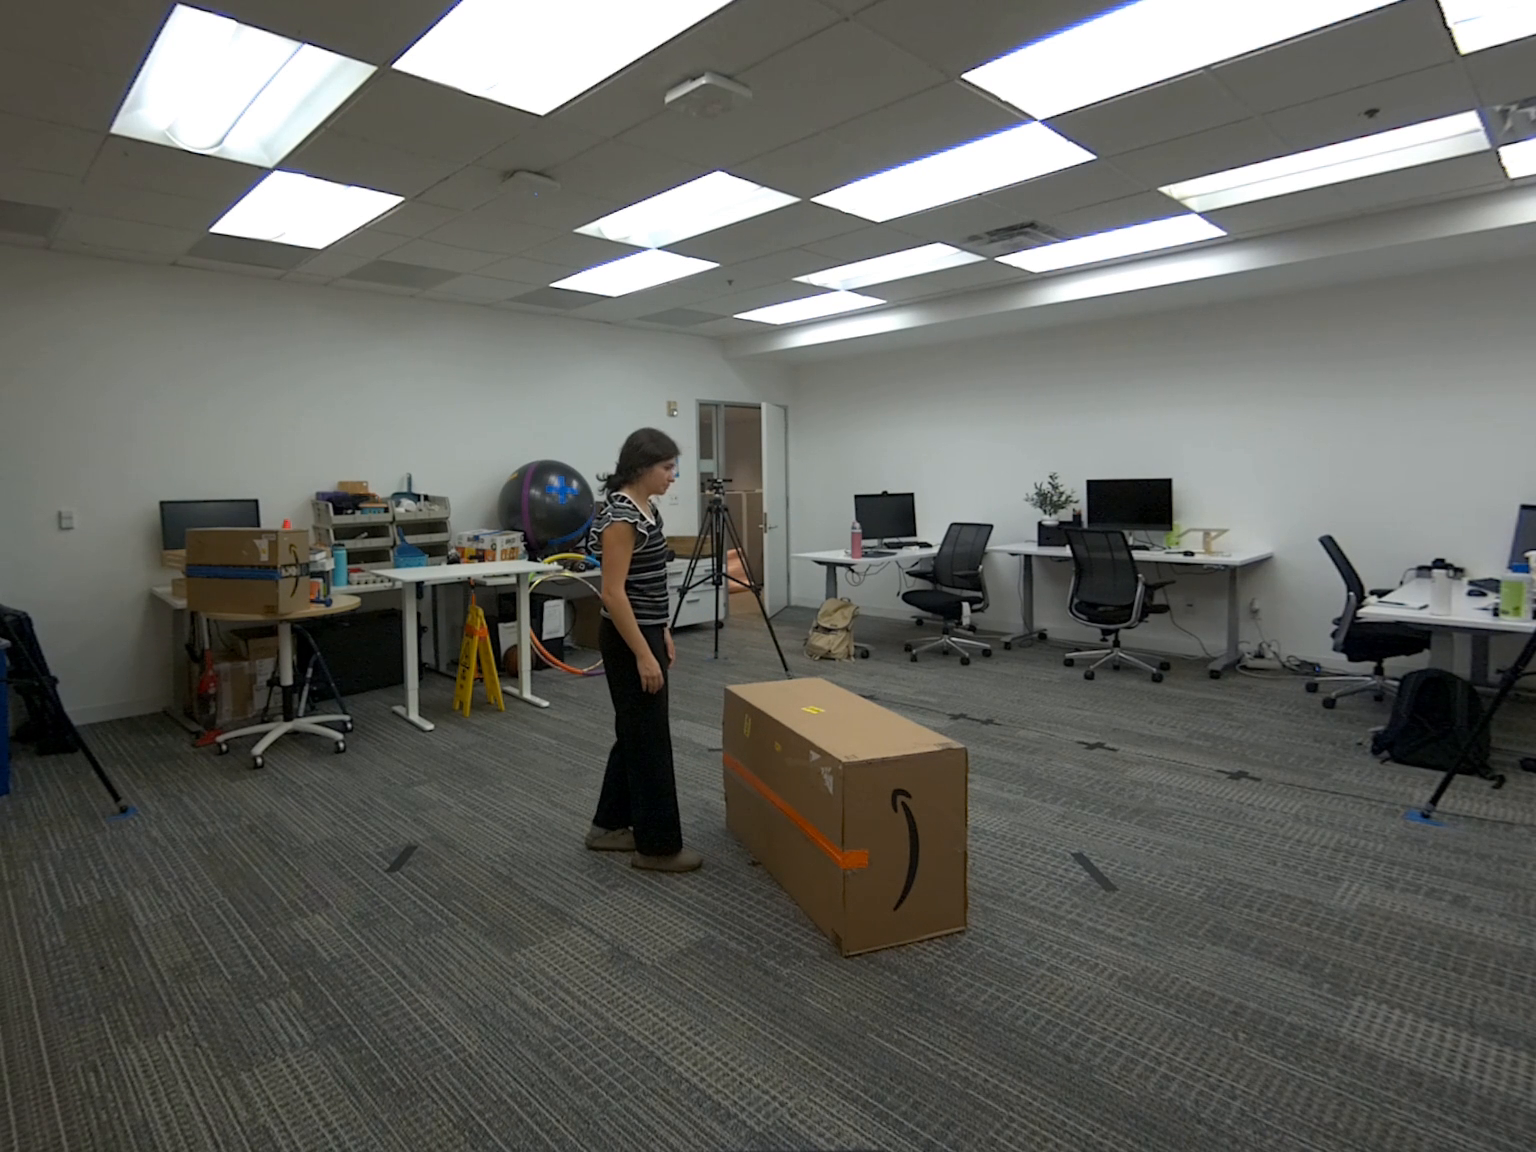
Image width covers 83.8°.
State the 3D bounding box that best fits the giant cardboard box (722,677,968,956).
[{"bbox_3d":[0.220,0.763,3.013,0.418,0.575,1.049,-2,6,-22],"label":"giant cardboard box"}]
